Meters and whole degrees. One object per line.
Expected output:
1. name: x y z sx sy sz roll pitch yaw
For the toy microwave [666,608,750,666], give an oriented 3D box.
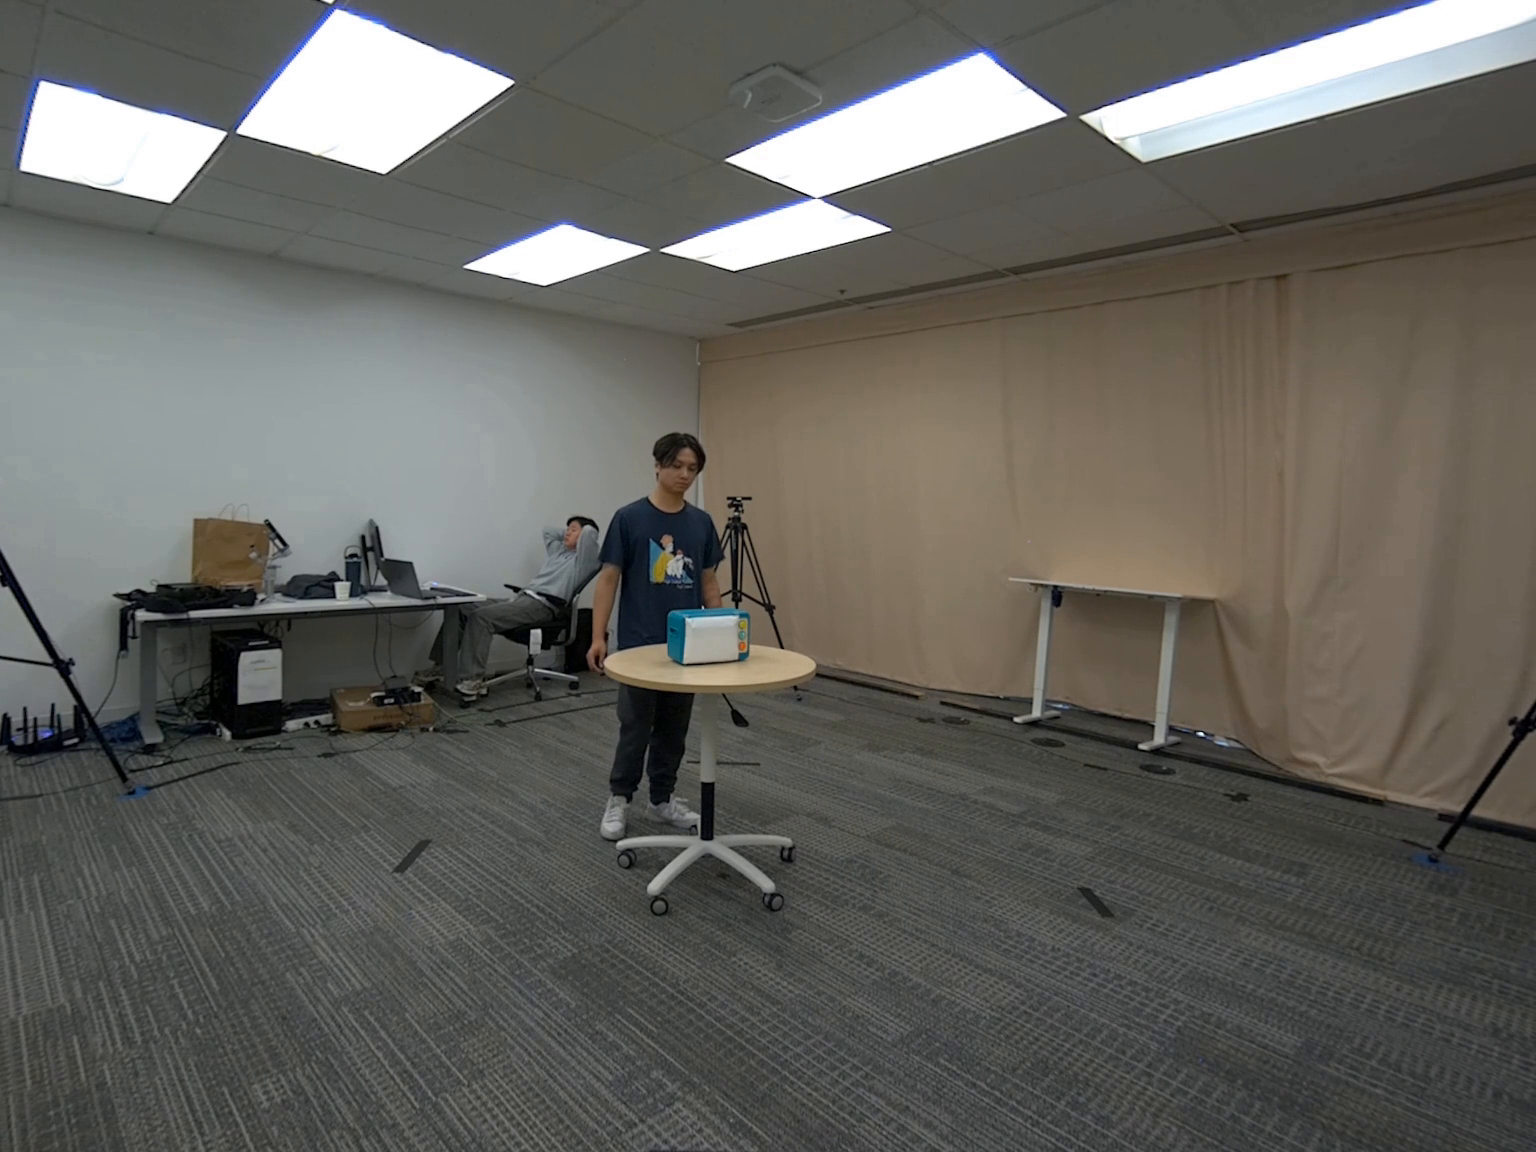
1. toy microwave: -0.216 0.219 3.048 0.281 0.183 0.156 -1 5 -27
